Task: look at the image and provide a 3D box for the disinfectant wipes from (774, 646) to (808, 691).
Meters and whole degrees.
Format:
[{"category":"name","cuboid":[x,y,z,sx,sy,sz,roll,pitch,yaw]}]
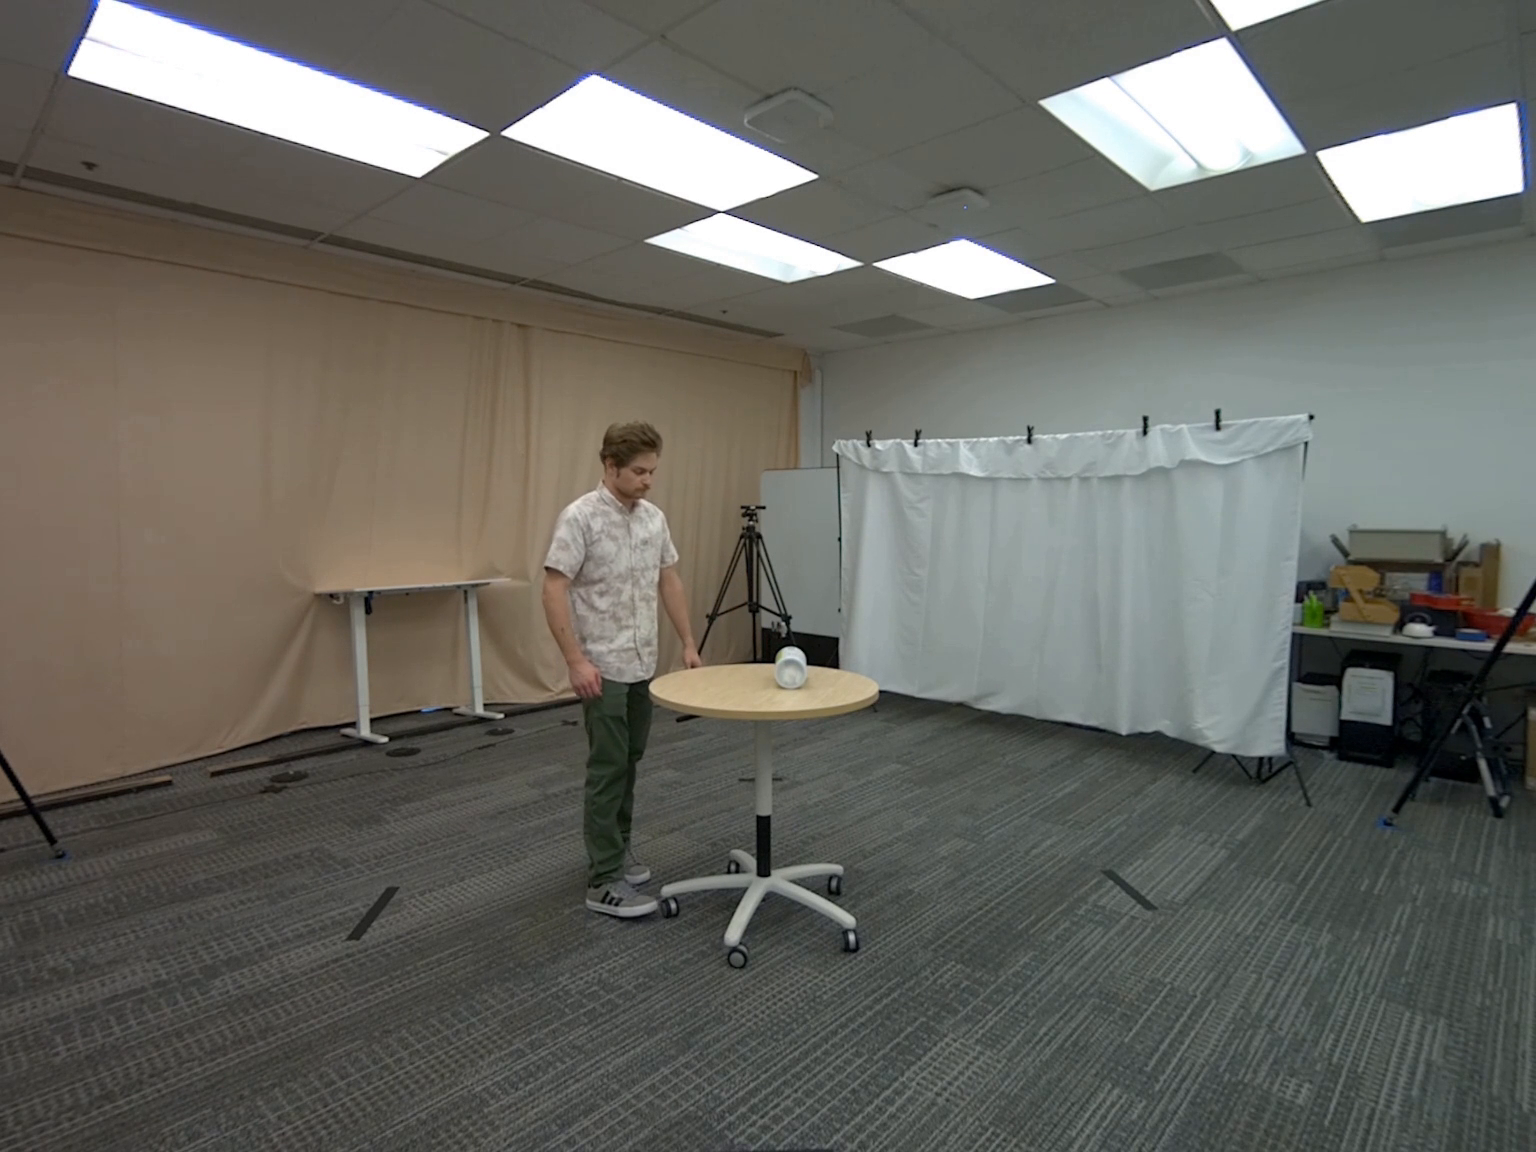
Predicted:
[{"category":"disinfectant wipes","cuboid":[0.080,0.307,2.844,0.118,0.117,0.217,0,4,1]}]
